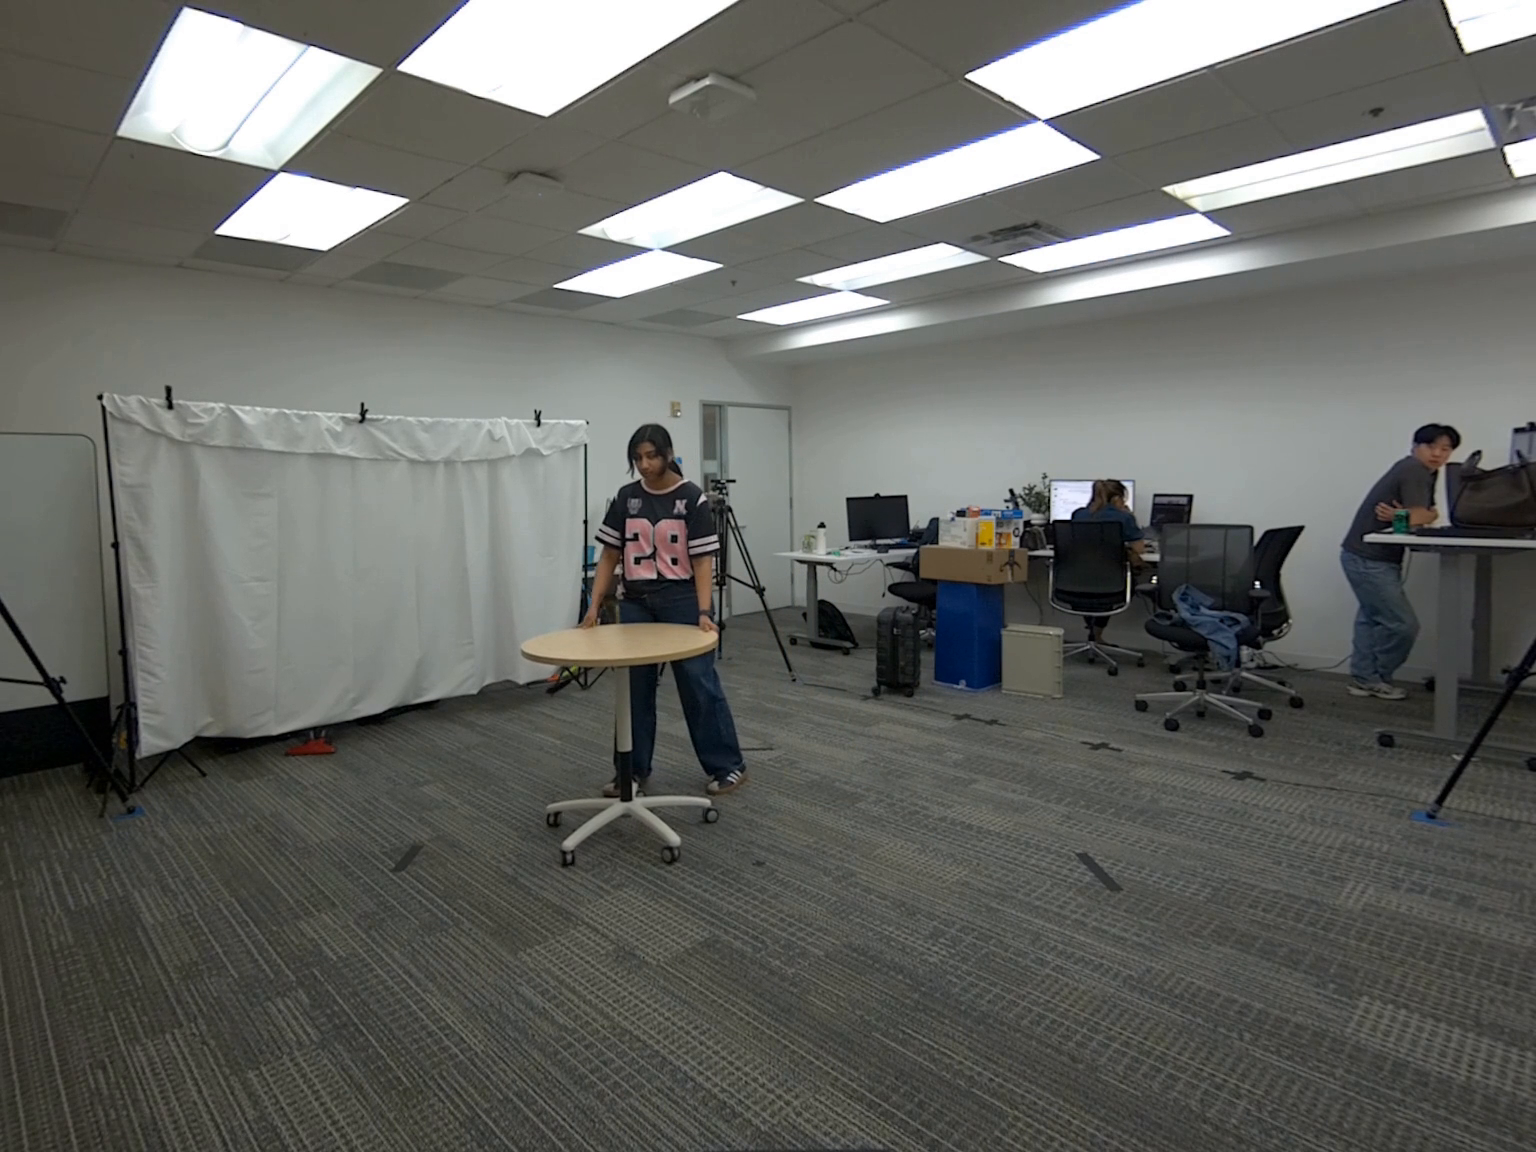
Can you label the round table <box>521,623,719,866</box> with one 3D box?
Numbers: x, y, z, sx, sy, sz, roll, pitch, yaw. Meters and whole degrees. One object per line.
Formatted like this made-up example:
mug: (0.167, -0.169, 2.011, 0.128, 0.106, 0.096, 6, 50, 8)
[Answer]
round table: (-0.549, 0.637, 3.367, 0.784, 0.784, 0.789, -2, 5, -2)
